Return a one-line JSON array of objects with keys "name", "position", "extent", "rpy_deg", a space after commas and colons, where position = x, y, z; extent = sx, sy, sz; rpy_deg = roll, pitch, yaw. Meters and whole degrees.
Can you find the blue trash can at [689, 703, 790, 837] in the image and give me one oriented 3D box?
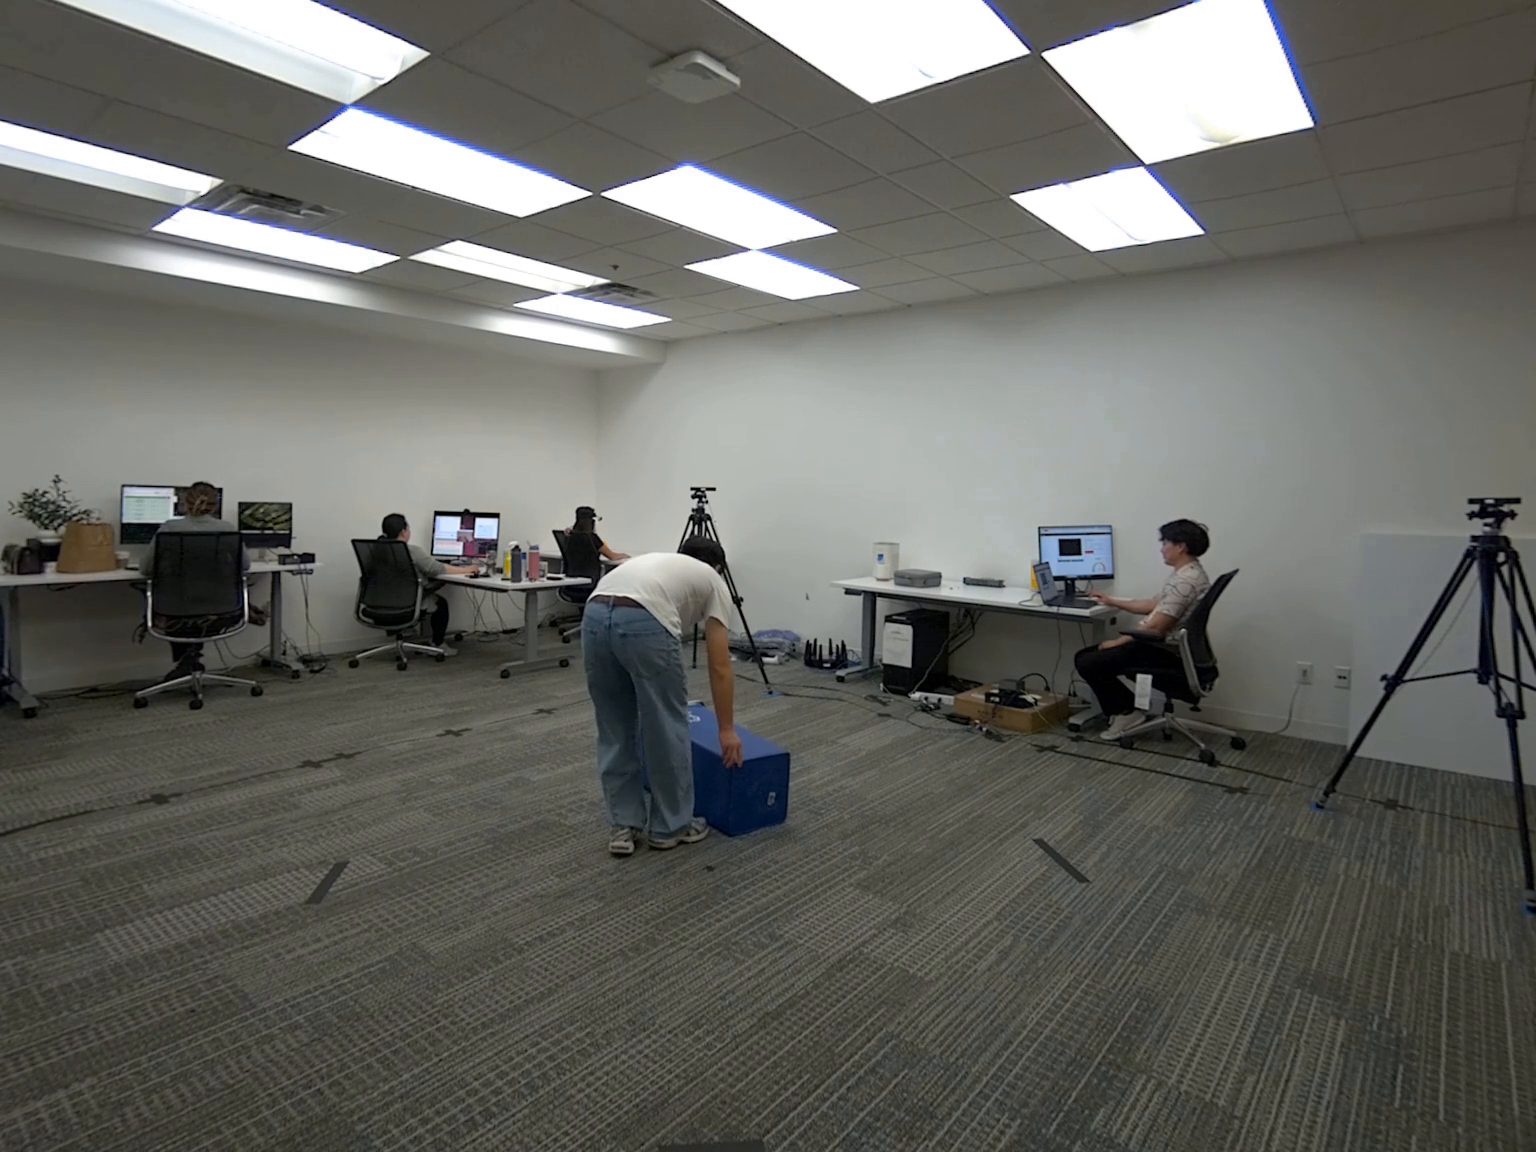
[{"name": "blue trash can", "position": [-0.259, 0.836, 3.751], "extent": [0.363, 0.376, 0.739], "rpy_deg": [-1, 8, -39]}]
